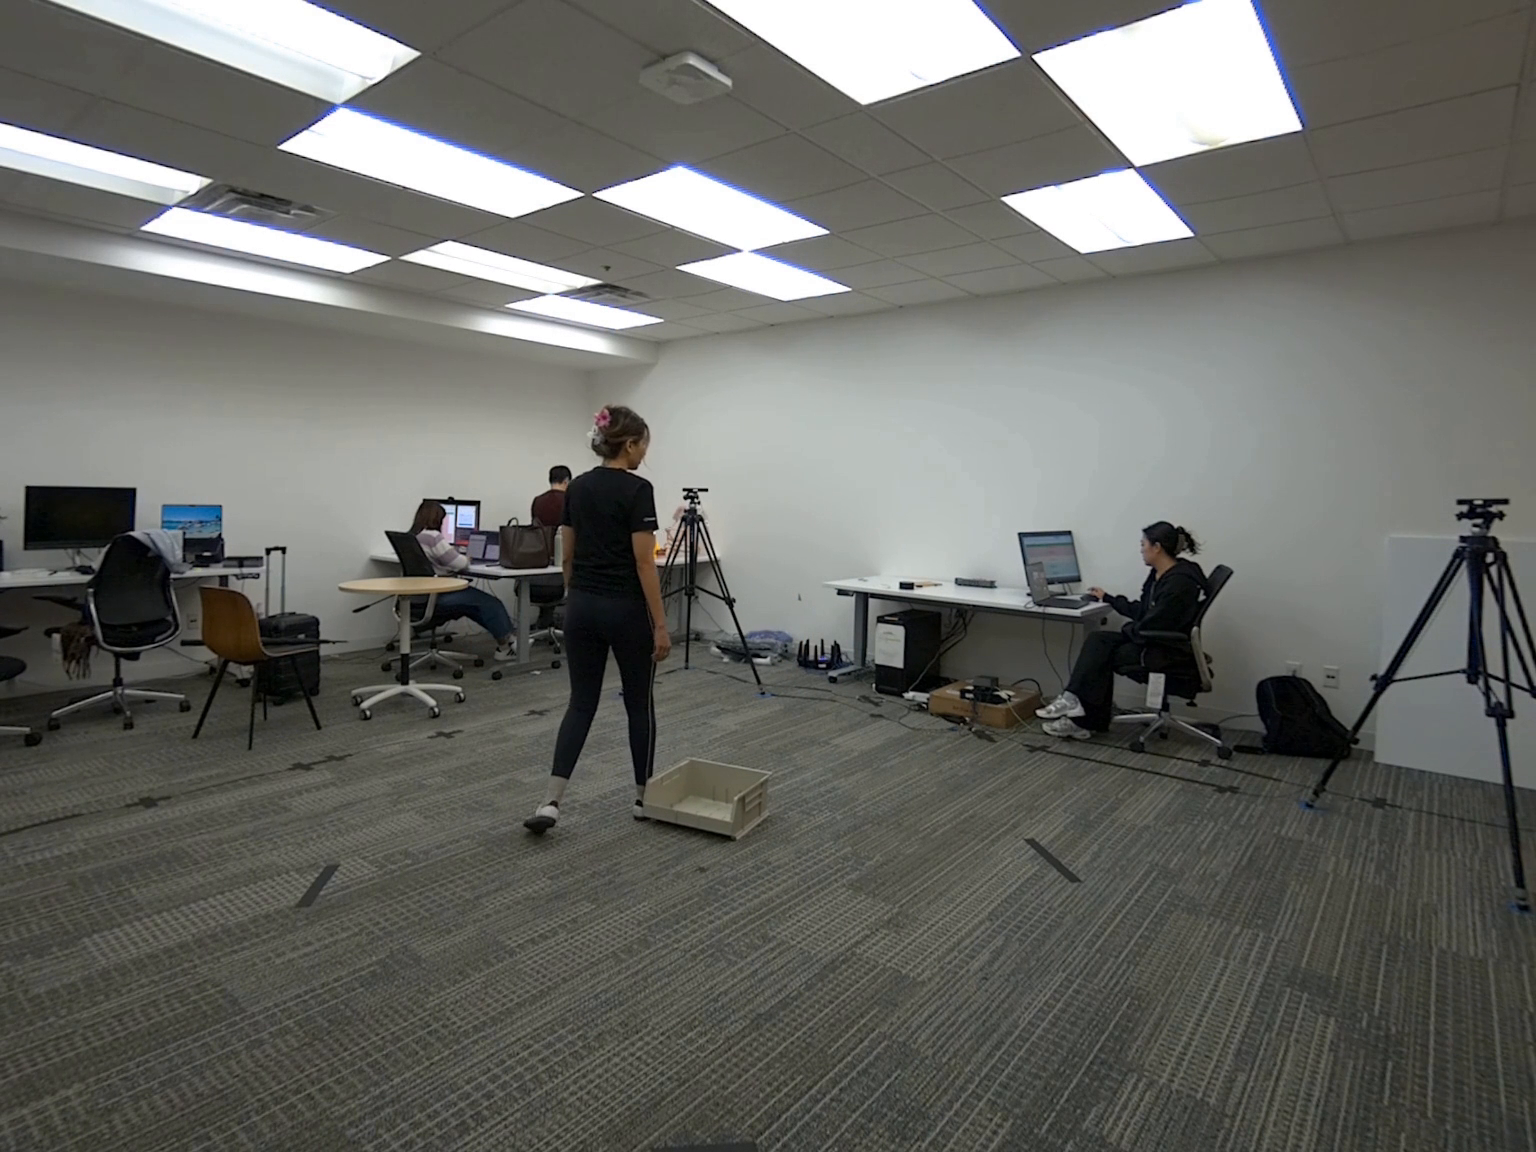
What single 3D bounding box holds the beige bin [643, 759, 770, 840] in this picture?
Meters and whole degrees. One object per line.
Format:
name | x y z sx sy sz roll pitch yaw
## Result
beige bin | -0.259 0.937 3.586 0.433 0.188 0.368 3 5 26
